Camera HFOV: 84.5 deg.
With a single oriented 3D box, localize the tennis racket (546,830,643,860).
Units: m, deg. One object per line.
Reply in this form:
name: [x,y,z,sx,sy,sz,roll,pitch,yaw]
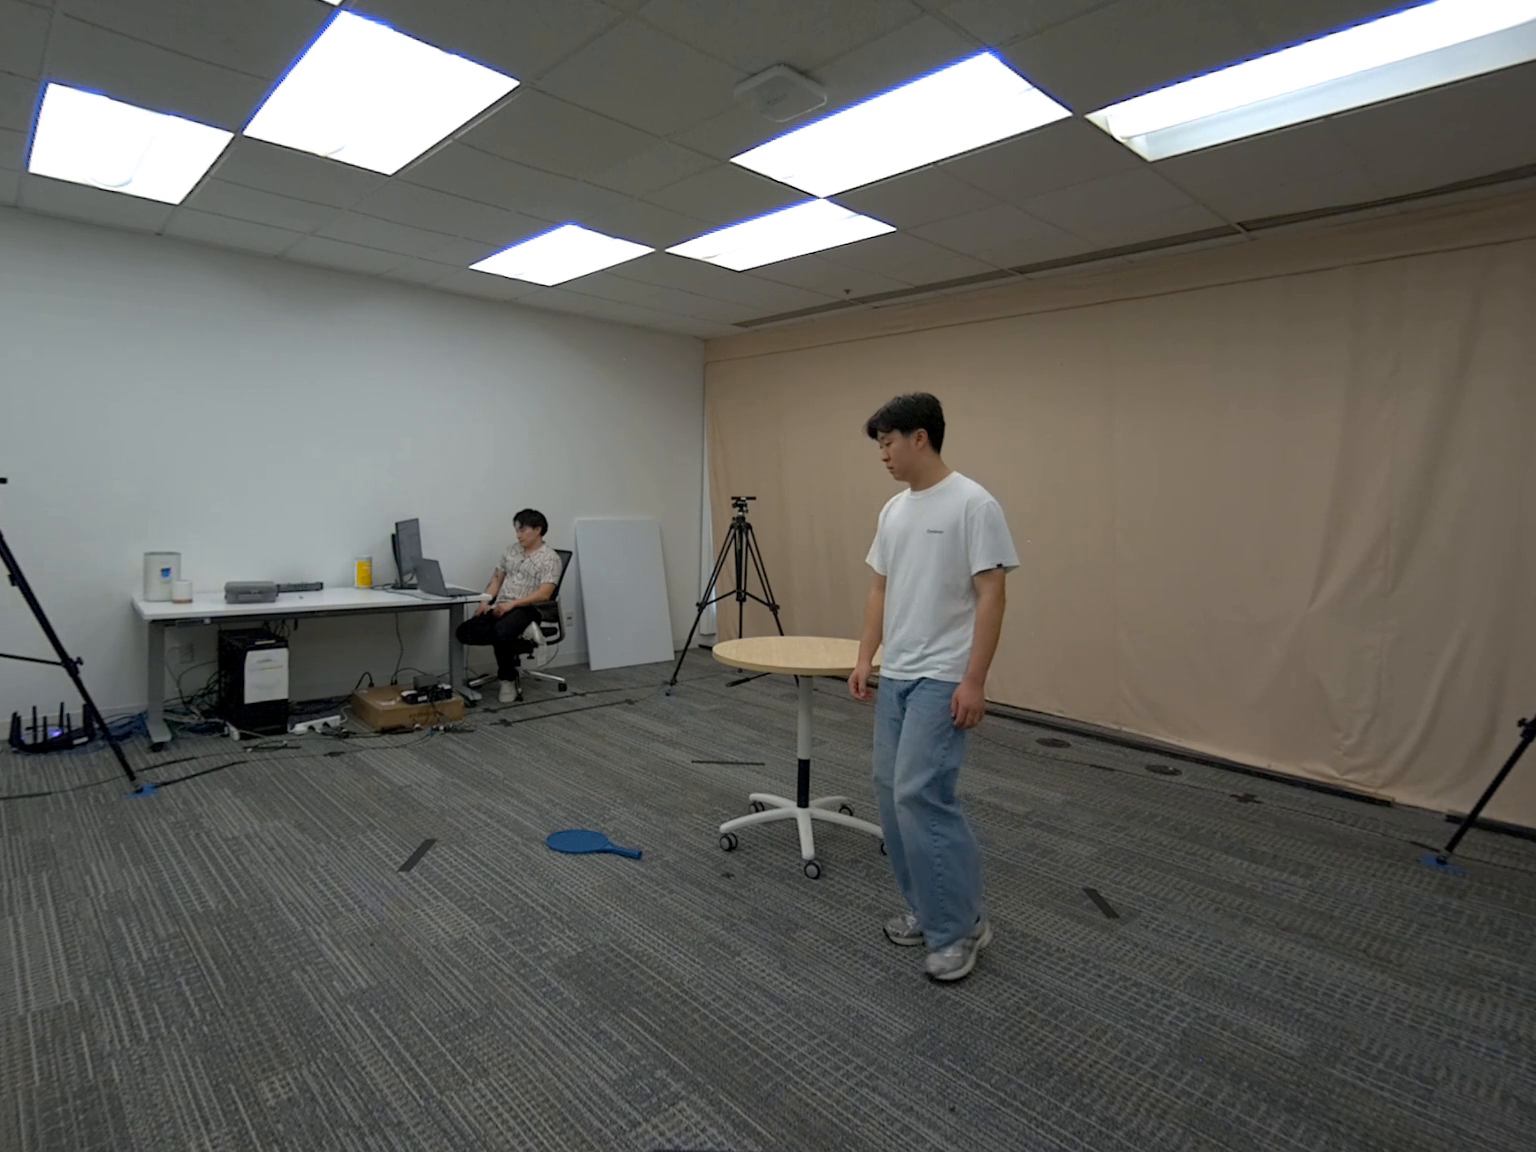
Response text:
tennis racket: [-0.691,1.060,3.320,0.442,0.031,0.210,2,6,28]
